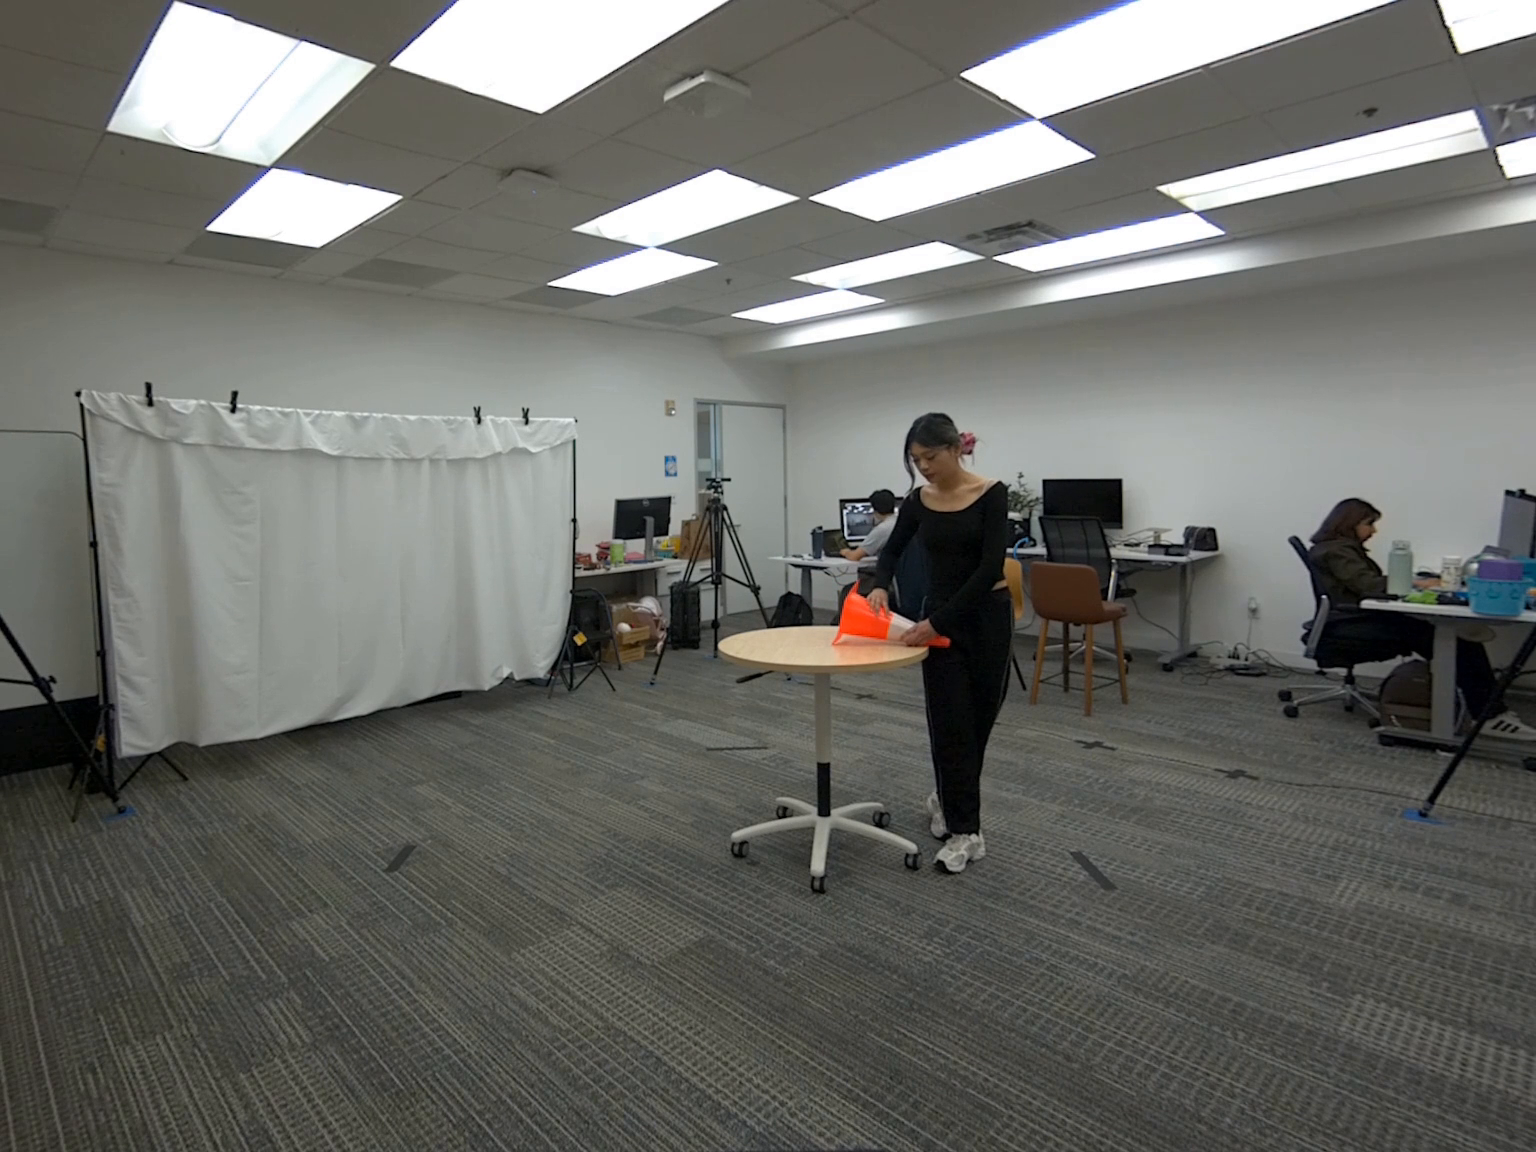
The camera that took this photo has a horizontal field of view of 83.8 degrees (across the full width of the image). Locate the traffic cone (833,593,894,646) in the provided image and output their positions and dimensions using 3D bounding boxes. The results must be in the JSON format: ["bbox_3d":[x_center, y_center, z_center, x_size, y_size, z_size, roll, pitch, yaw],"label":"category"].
[{"bbox_3d":[0.466,0.185,3.089,0.391,0.201,0.203,16,28,16],"label":"traffic cone"}]
